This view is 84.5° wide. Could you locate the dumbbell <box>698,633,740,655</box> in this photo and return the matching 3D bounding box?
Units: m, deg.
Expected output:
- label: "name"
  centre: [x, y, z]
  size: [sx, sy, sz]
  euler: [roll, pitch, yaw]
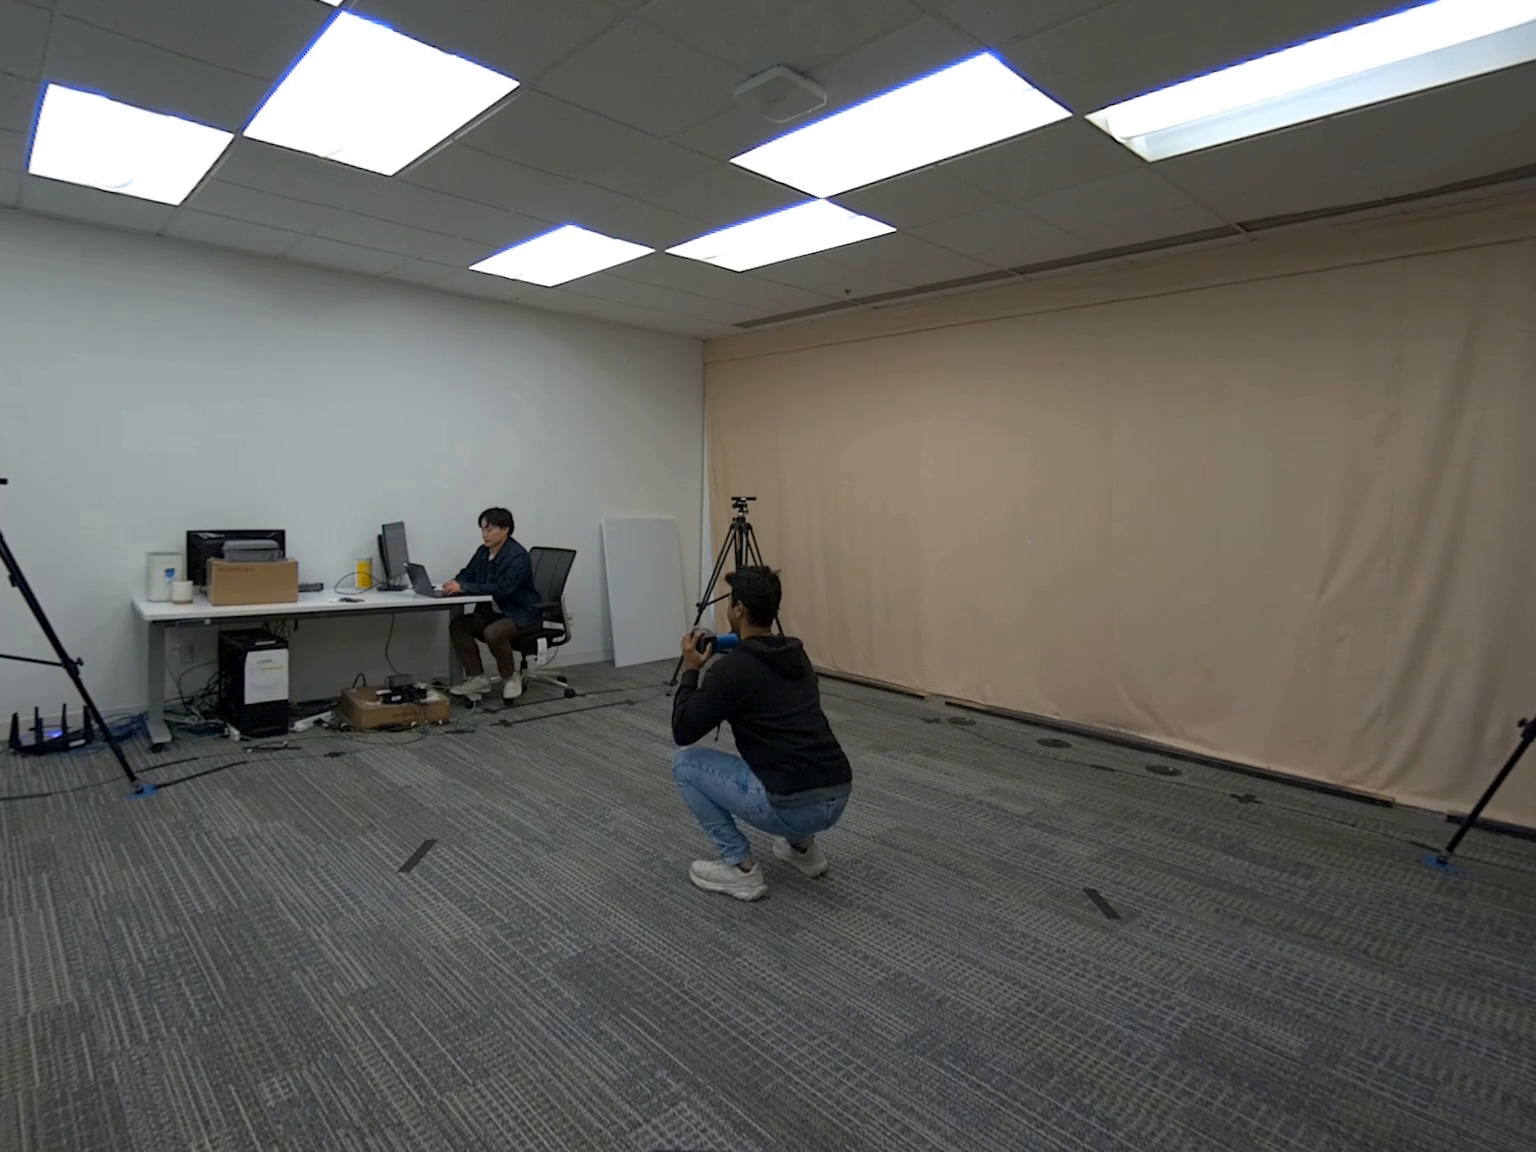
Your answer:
- label: "dumbbell"
  centre: [-0.174, 0.250, 3.259]
  size: [0.287, 0.123, 0.111]
  euler: [-3, 1, -39]
